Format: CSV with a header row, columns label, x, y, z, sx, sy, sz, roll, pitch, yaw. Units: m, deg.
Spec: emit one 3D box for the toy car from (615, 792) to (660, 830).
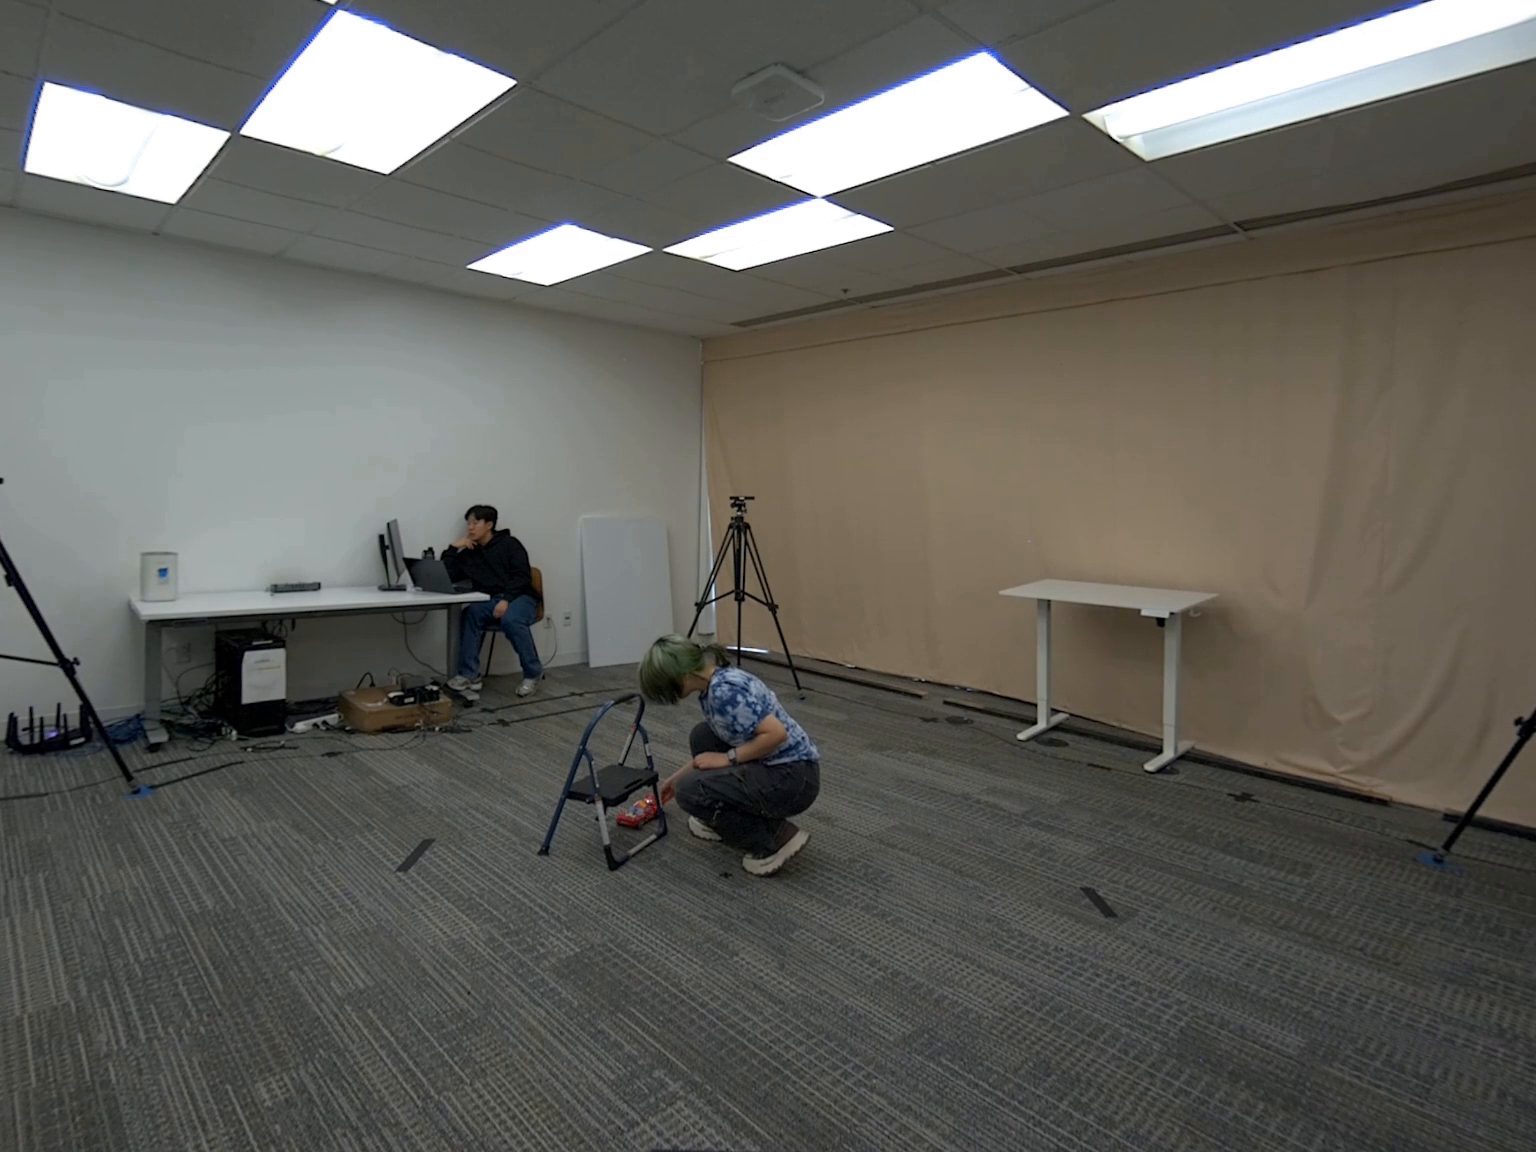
label,x,y,z,sx,sy,sz,roll,pitch,yaw
toy car,-0.547,1.017,3.613,0.133,0.082,0.252,2,15,24
